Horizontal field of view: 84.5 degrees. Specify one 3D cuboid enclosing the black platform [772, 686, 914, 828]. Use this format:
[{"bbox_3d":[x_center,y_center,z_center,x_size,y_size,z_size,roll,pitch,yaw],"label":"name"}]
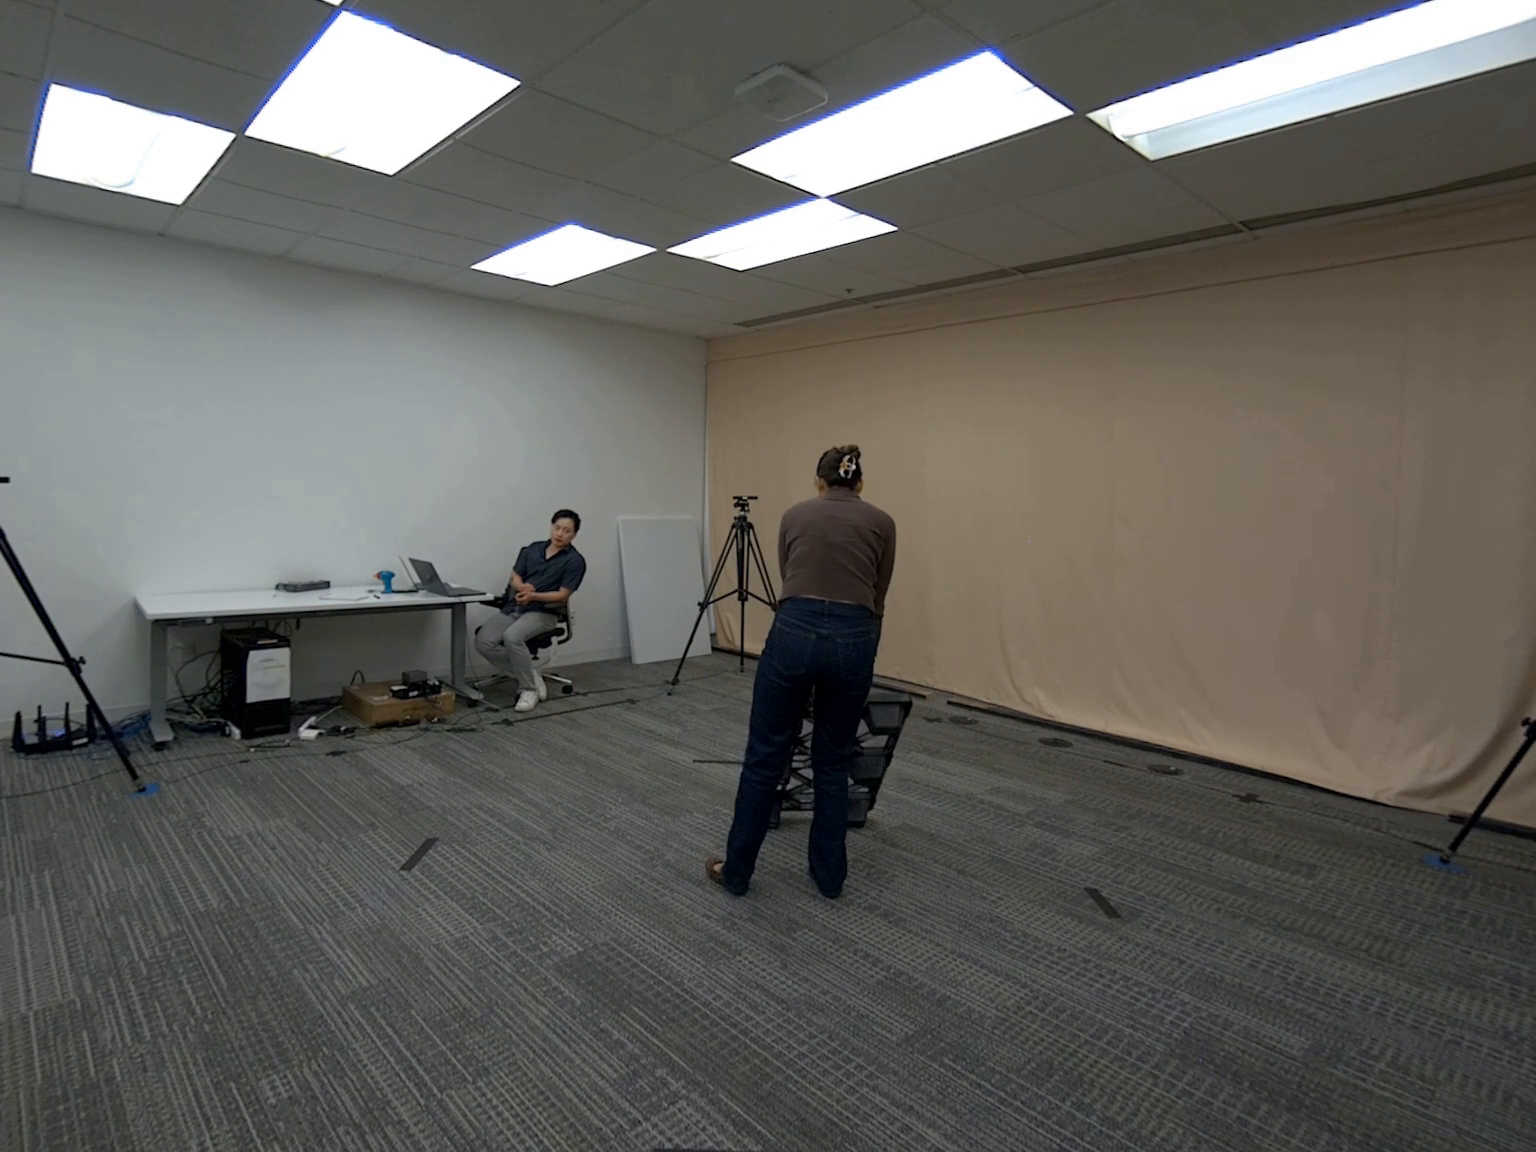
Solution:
[{"bbox_3d":[0.193,0.763,3.368,0.602,0.790,0.147,1,43,-6],"label":"black platform"}]
